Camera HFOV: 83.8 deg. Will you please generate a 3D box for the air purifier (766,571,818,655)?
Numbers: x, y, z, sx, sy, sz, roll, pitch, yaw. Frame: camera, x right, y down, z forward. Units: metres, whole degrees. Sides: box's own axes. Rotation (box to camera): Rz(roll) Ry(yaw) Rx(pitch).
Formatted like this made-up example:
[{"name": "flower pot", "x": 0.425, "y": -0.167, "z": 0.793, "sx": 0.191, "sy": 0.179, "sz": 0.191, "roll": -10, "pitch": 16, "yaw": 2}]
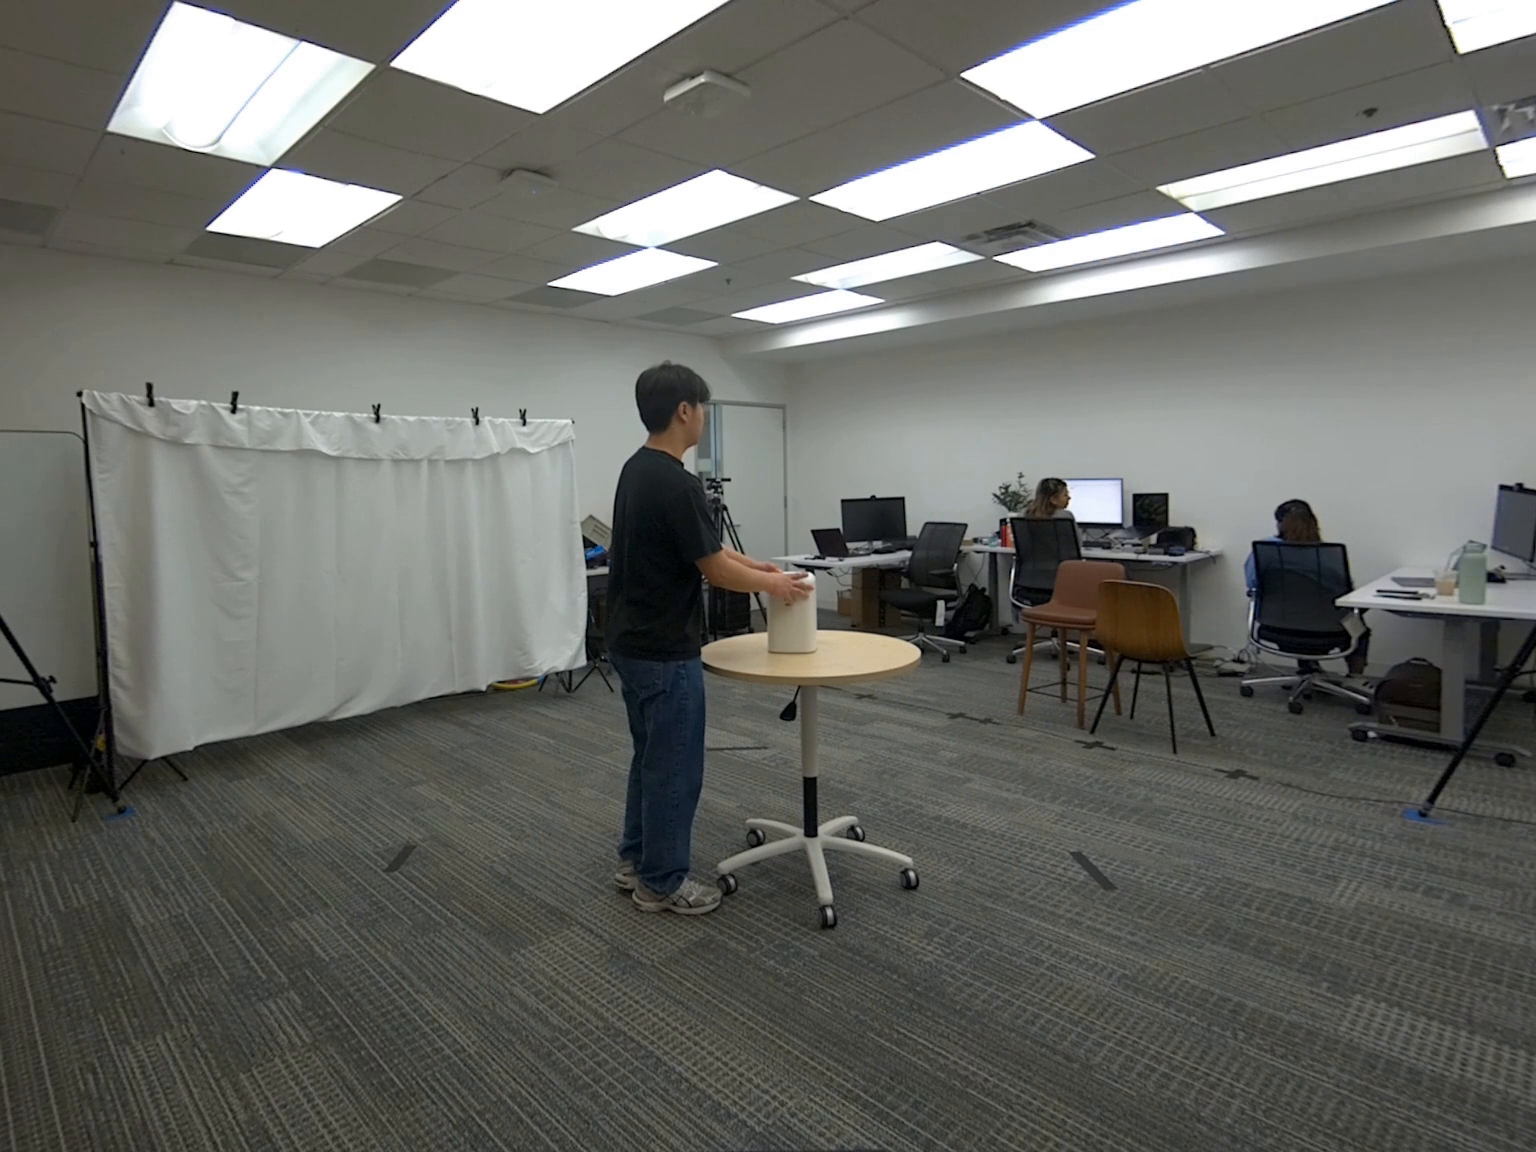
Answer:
[{"name": "air purifier", "x": 0.085, "y": 0.125, "z": 2.993, "sx": 0.173, "sy": 0.264, "sz": 0.171, "roll": -1, "pitch": 4, "yaw": 9}]
